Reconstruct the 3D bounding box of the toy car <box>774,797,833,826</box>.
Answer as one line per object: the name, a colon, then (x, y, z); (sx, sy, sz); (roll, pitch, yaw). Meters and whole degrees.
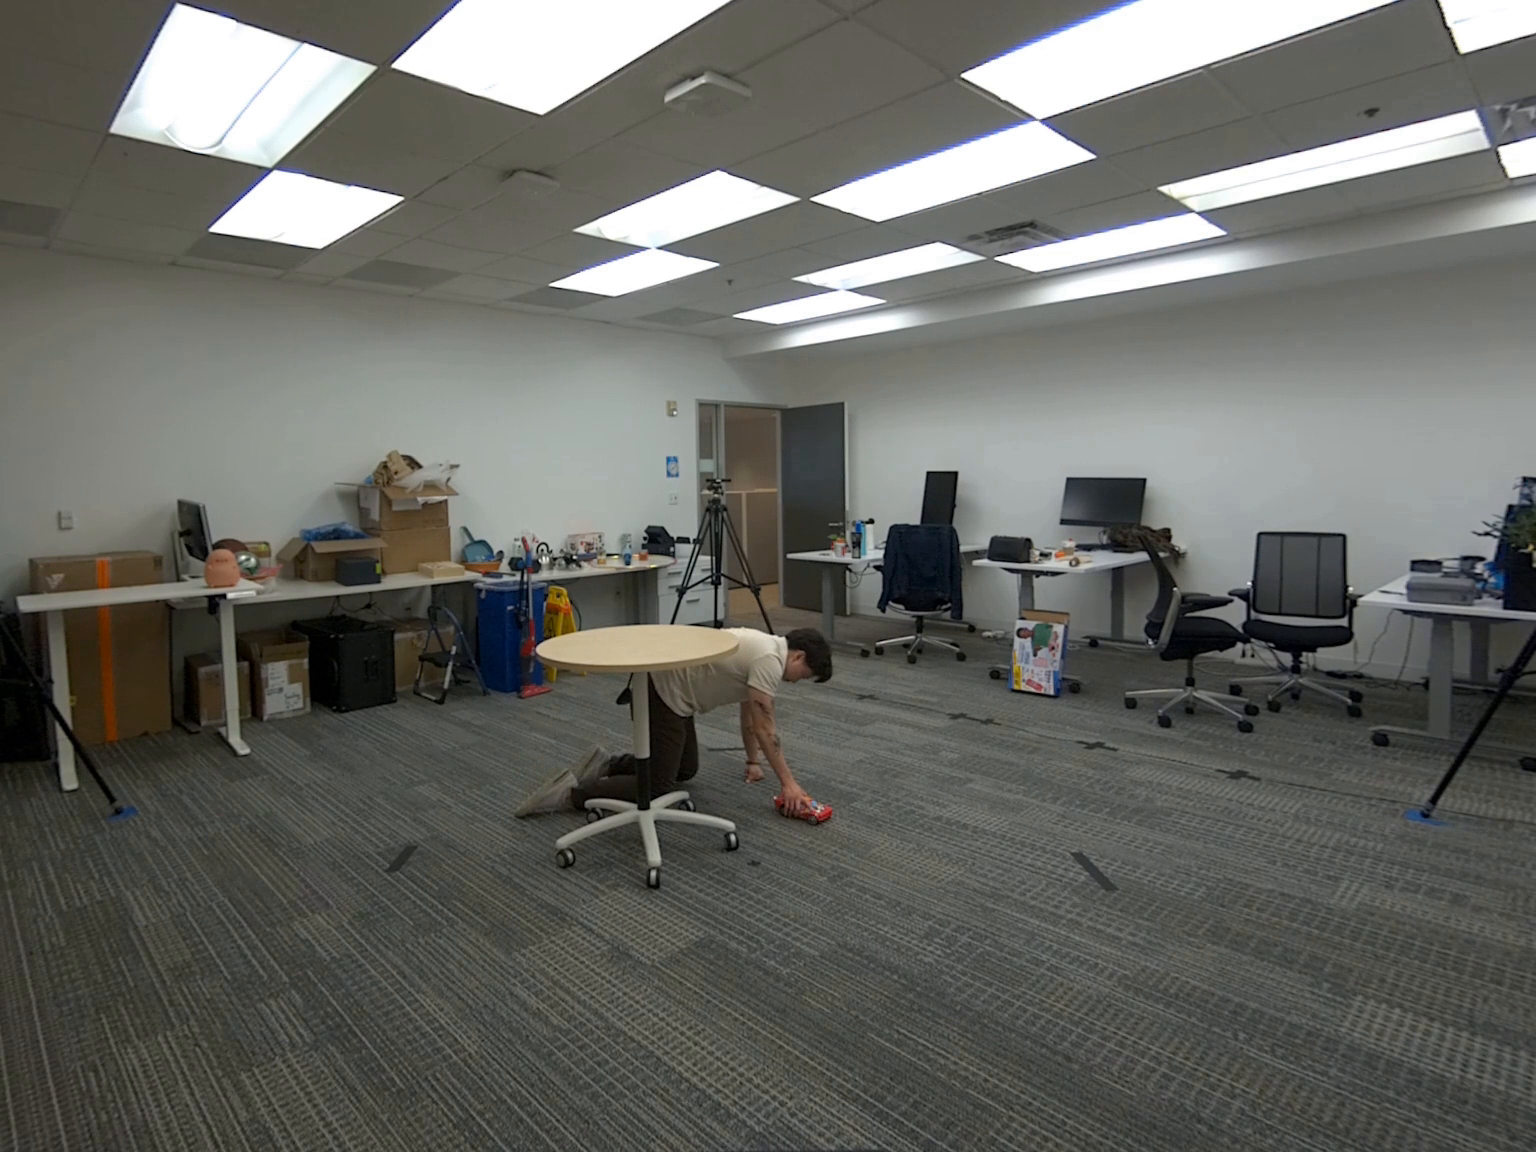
toy car: (0.137, 0.957, 3.547); (0.264, 0.082, 0.127); (18, 16, 39)
